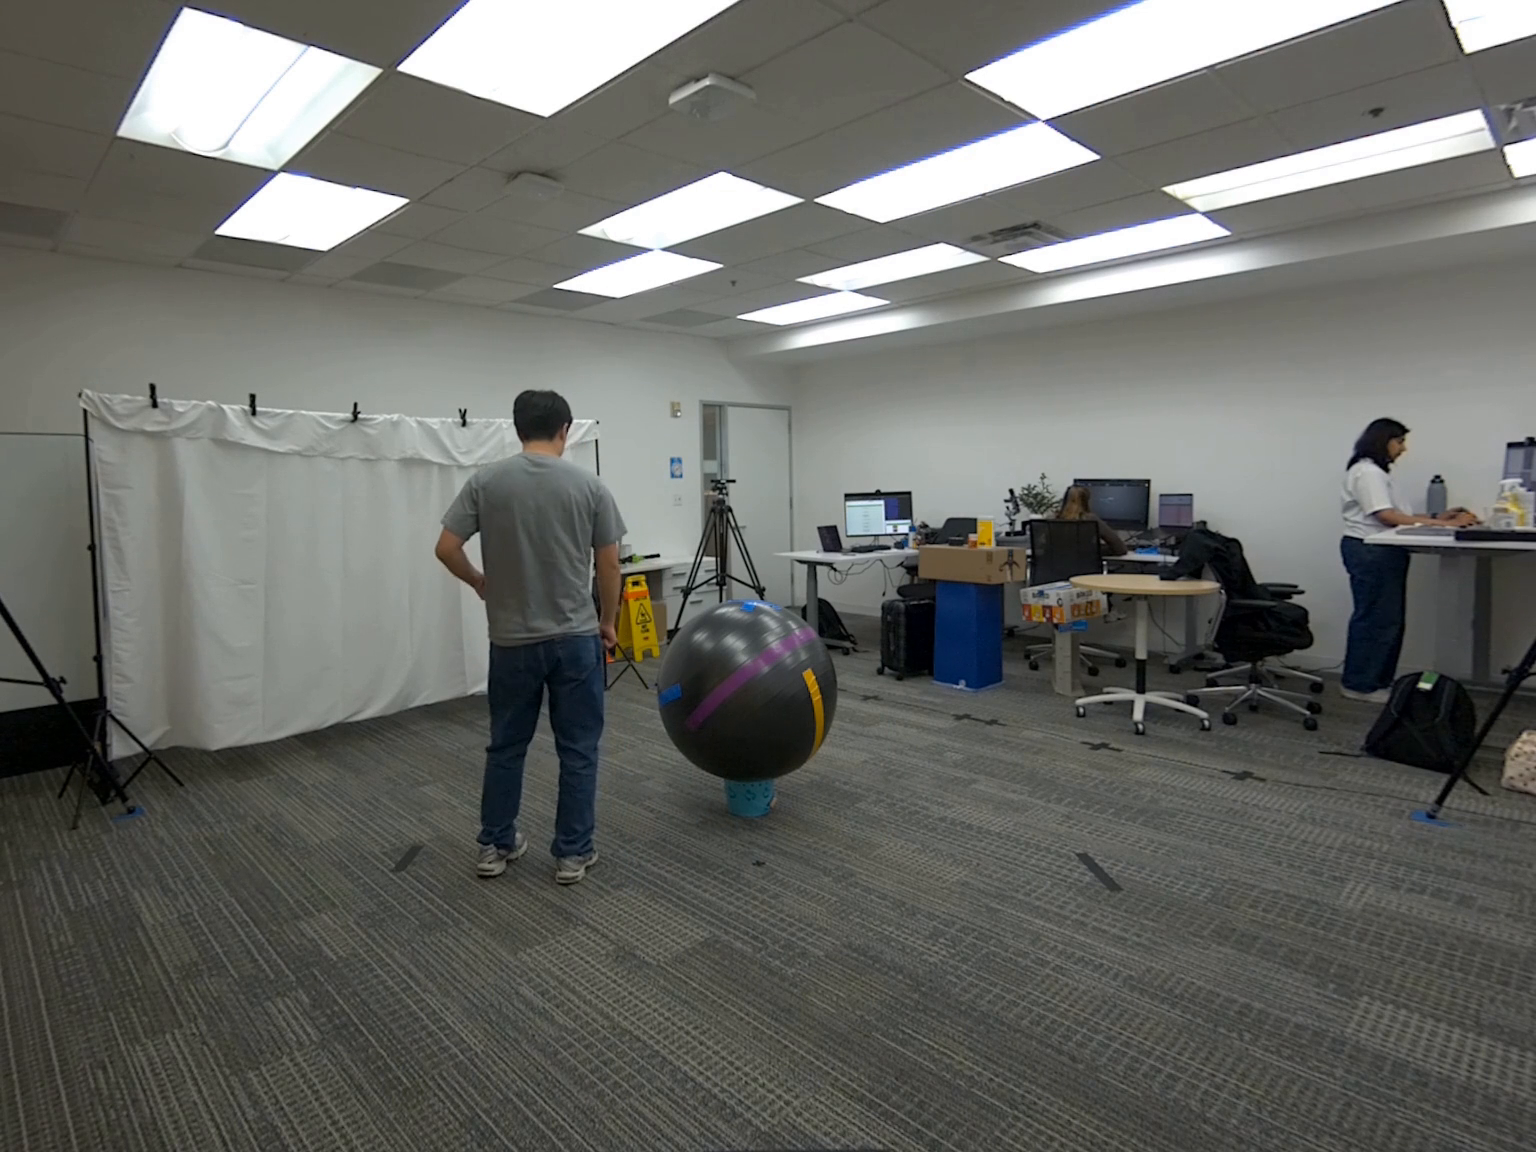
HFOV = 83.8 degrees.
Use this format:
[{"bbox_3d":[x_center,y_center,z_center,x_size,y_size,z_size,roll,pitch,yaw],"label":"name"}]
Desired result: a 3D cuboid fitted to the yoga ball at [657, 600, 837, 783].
[{"bbox_3d":[-0.089,0.483,3.608,0.757,0.755,0.762,-1,5,-2],"label":"yoga ball"}]
